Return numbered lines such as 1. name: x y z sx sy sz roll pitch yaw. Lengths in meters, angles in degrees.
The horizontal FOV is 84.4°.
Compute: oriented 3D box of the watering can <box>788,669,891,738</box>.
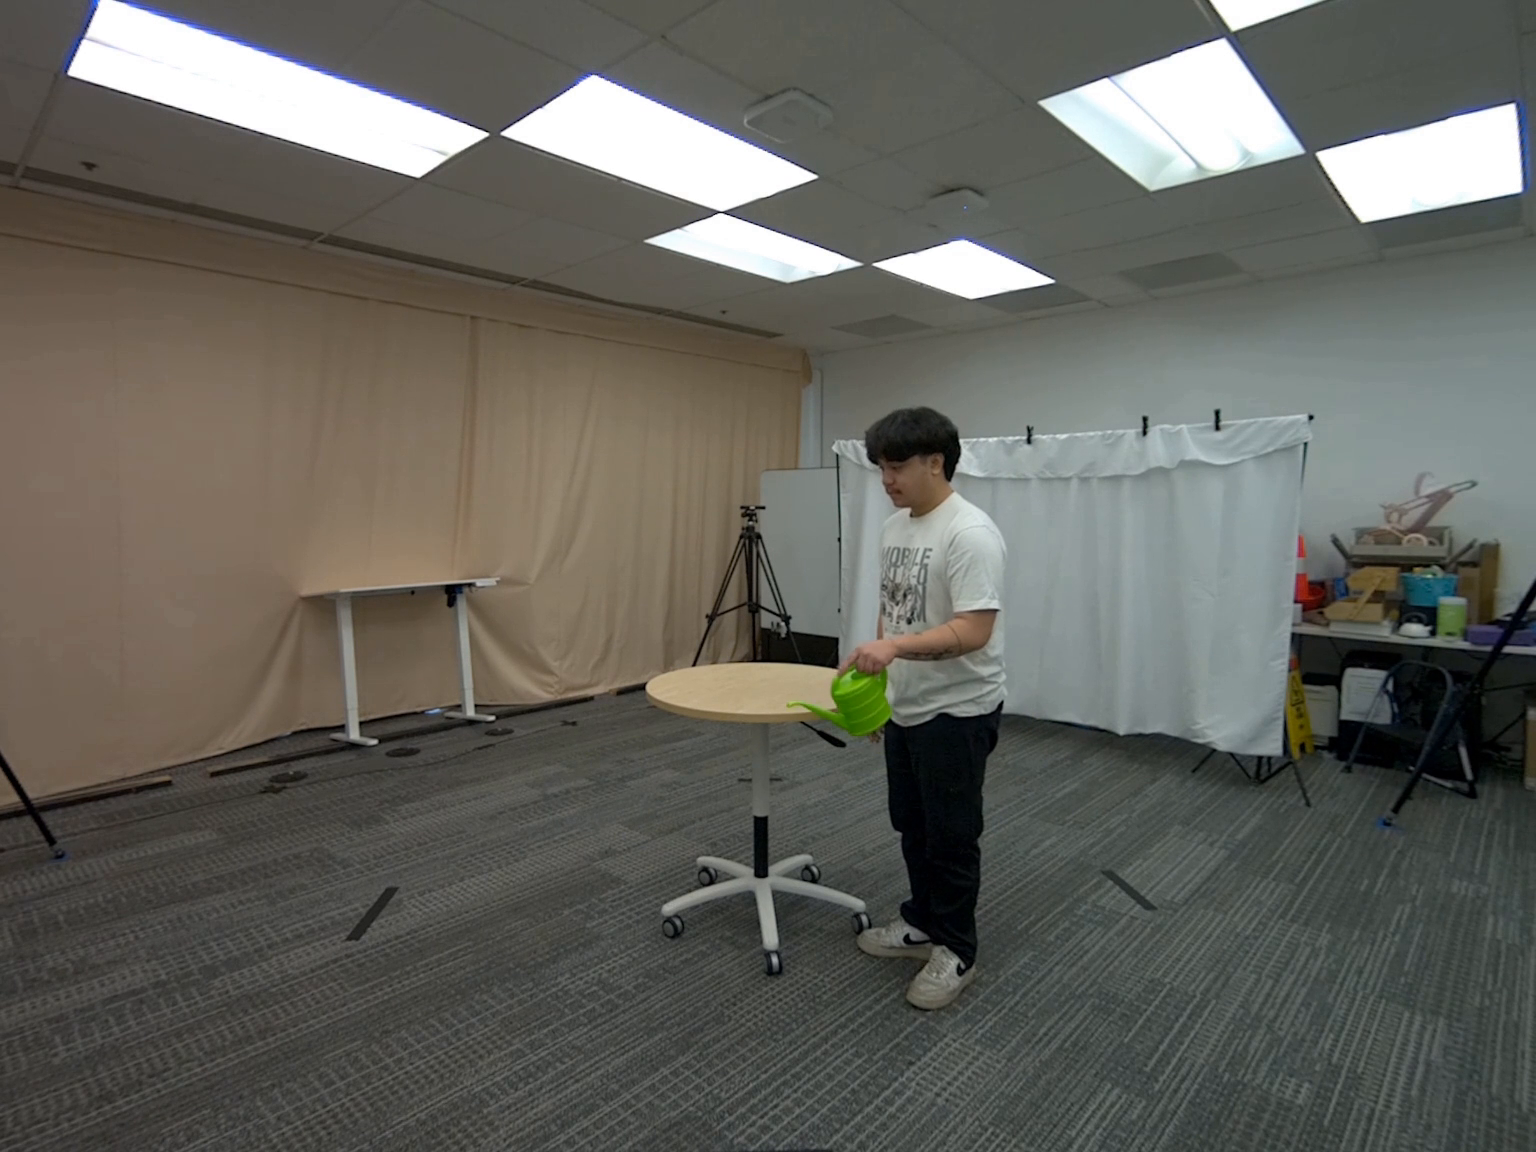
1. watering can: 0.202 0.329 2.143 0.277 0.174 0.100 -29 15 -6
